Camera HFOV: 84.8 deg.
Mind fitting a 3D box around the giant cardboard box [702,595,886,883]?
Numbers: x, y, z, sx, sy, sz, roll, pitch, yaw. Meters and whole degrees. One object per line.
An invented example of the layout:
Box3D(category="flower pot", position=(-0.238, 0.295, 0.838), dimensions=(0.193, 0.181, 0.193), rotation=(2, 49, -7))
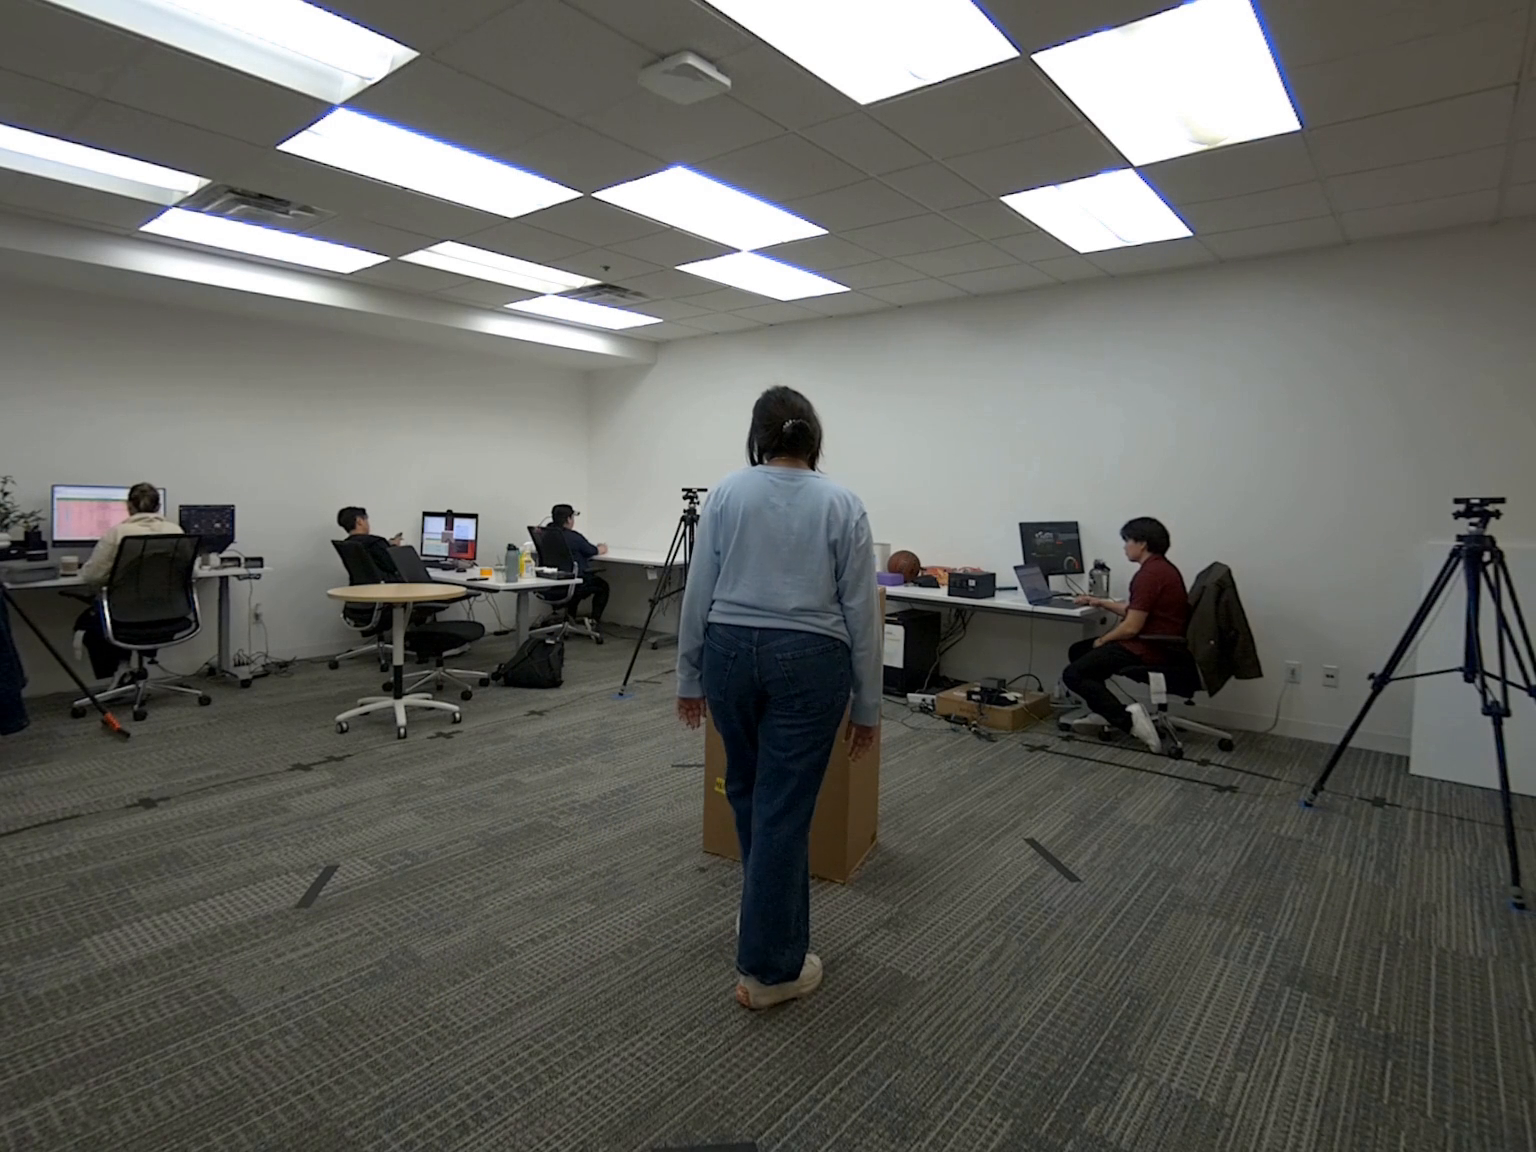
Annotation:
Box3D(category="giant cardboard box", position=(0.100, 0.547, 3.292), dimensions=(0.593, 1.023, 0.416), rotation=(3, 4, 25))
